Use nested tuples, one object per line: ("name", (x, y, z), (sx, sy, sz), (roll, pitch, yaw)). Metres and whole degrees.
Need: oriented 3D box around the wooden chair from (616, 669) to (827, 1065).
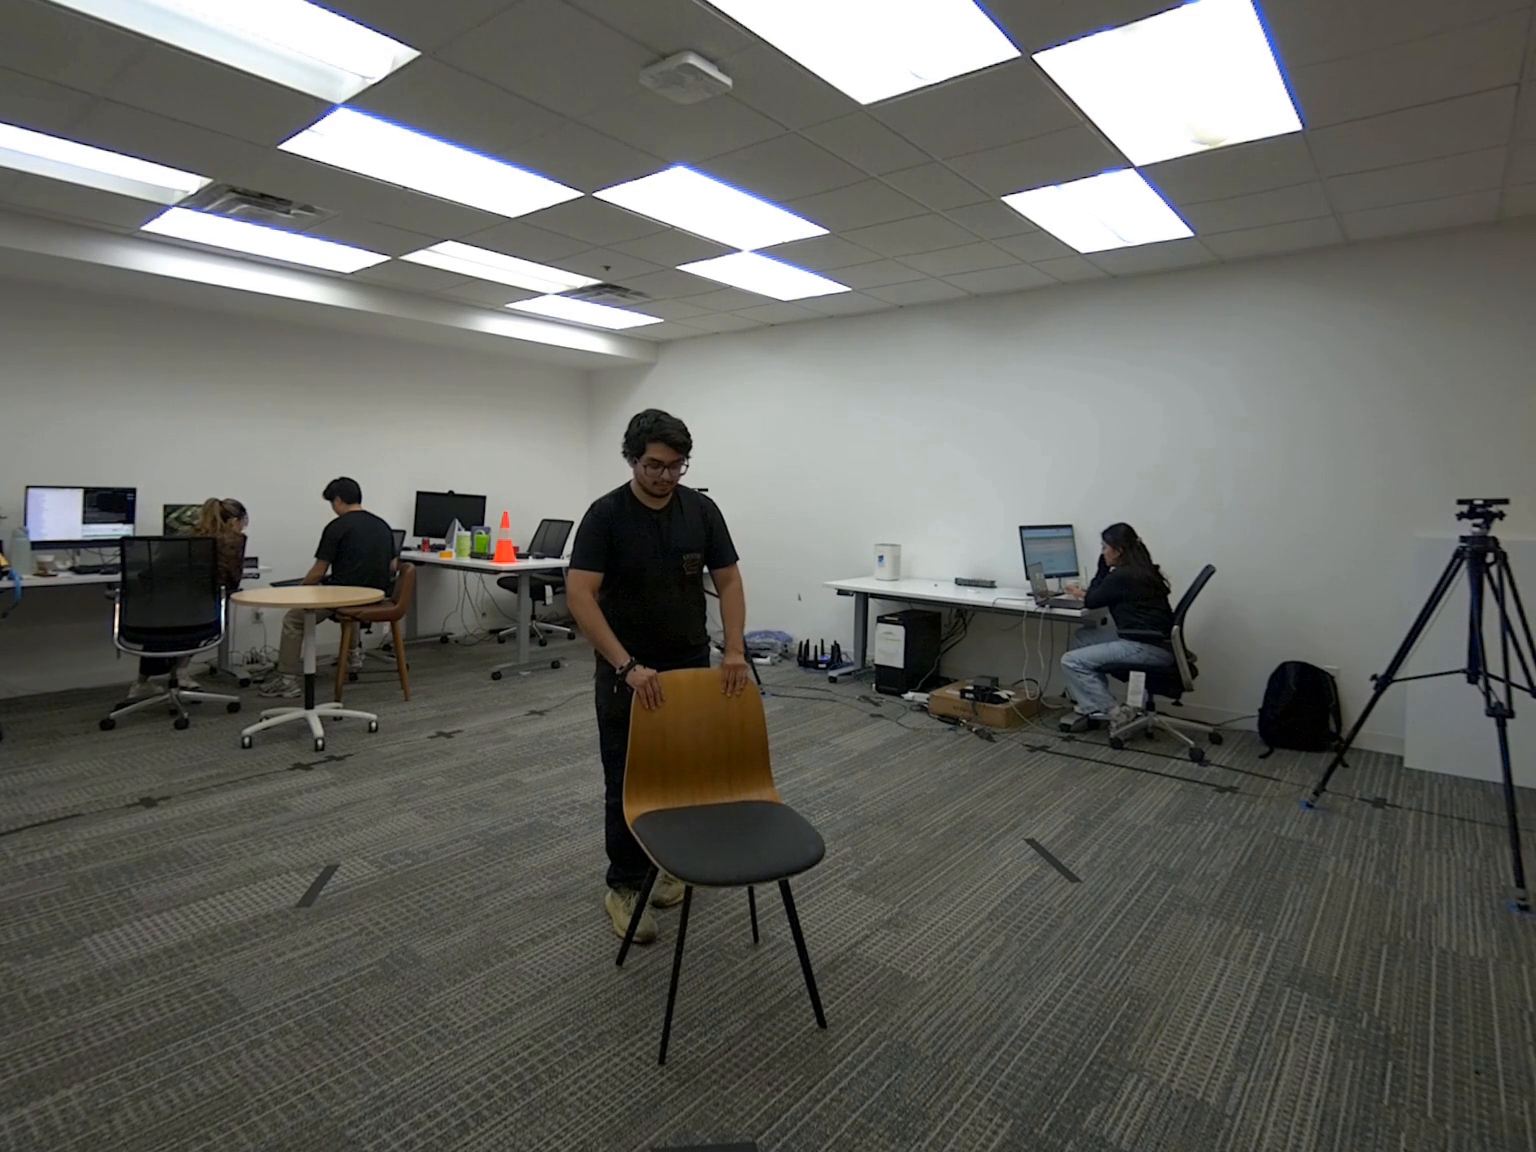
("wooden chair", (-0.134, 0.721, 2.299), (0.468, 0.878, 0.534), (1, 0, -22))
